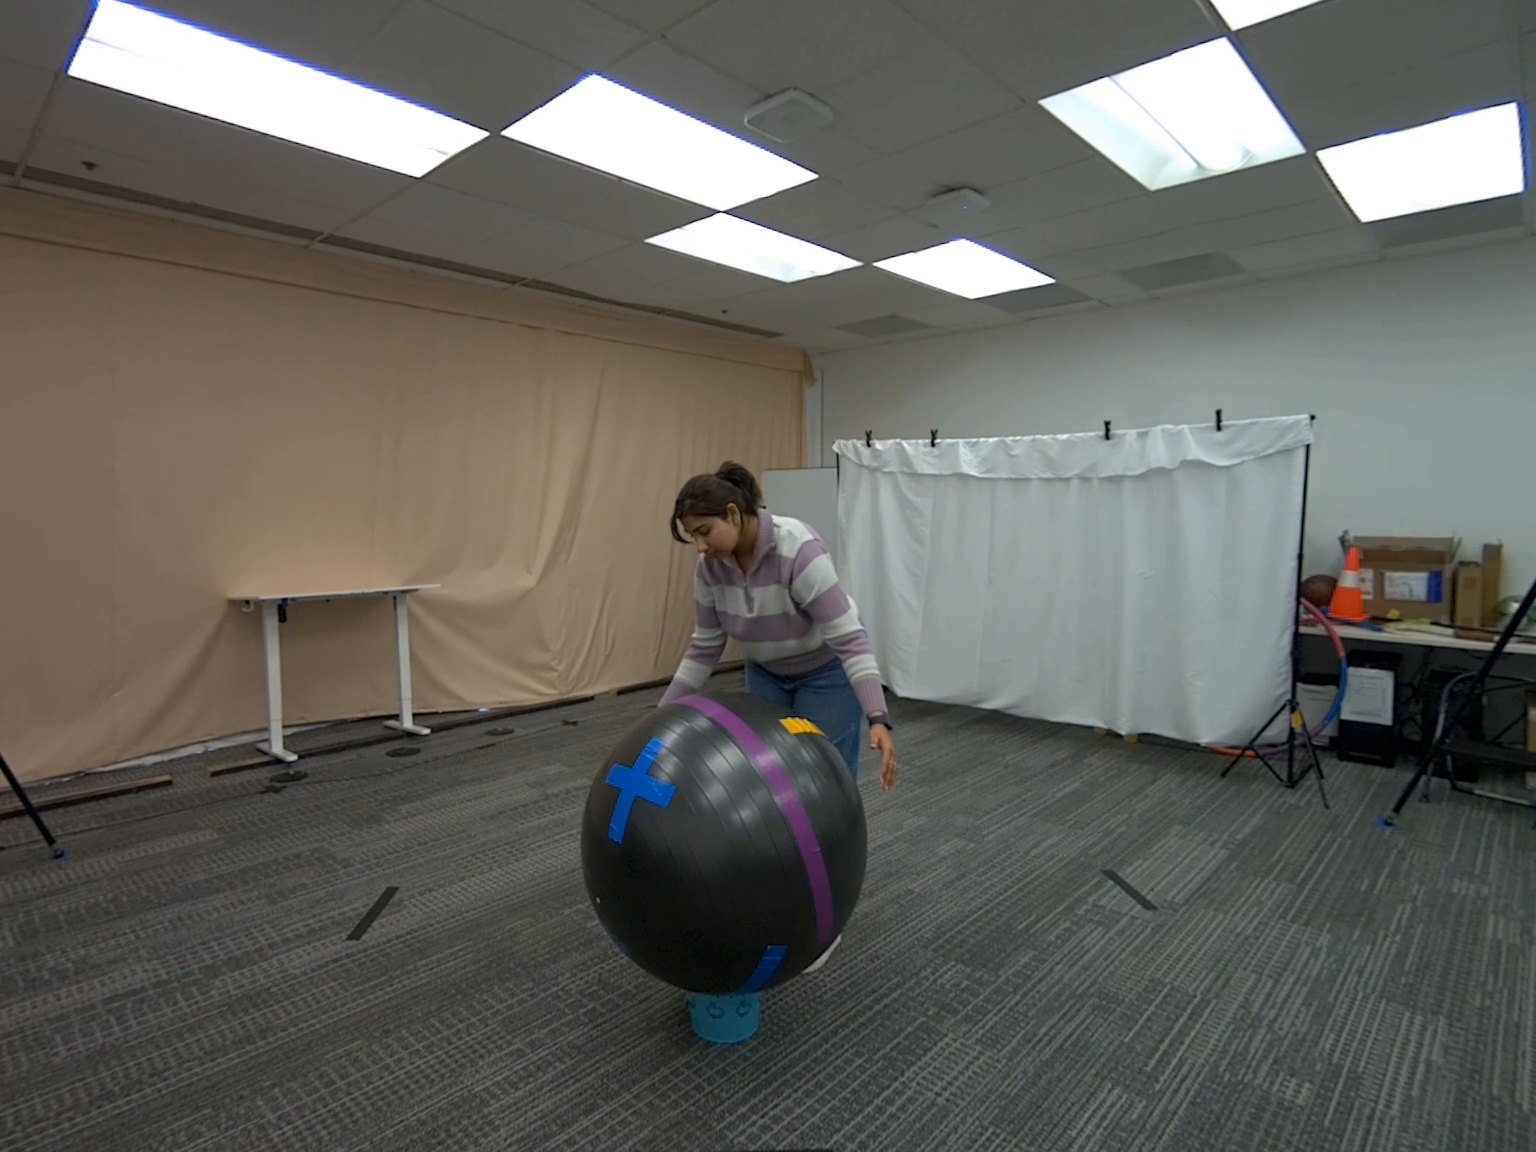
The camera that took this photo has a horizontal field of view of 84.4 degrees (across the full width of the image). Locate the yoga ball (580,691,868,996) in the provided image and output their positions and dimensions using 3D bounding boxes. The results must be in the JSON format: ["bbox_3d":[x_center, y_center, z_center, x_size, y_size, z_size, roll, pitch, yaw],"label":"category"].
[{"bbox_3d":[-0.123,0.697,2.233,0.757,0.756,0.761,0,4,-2],"label":"yoga ball"}]
